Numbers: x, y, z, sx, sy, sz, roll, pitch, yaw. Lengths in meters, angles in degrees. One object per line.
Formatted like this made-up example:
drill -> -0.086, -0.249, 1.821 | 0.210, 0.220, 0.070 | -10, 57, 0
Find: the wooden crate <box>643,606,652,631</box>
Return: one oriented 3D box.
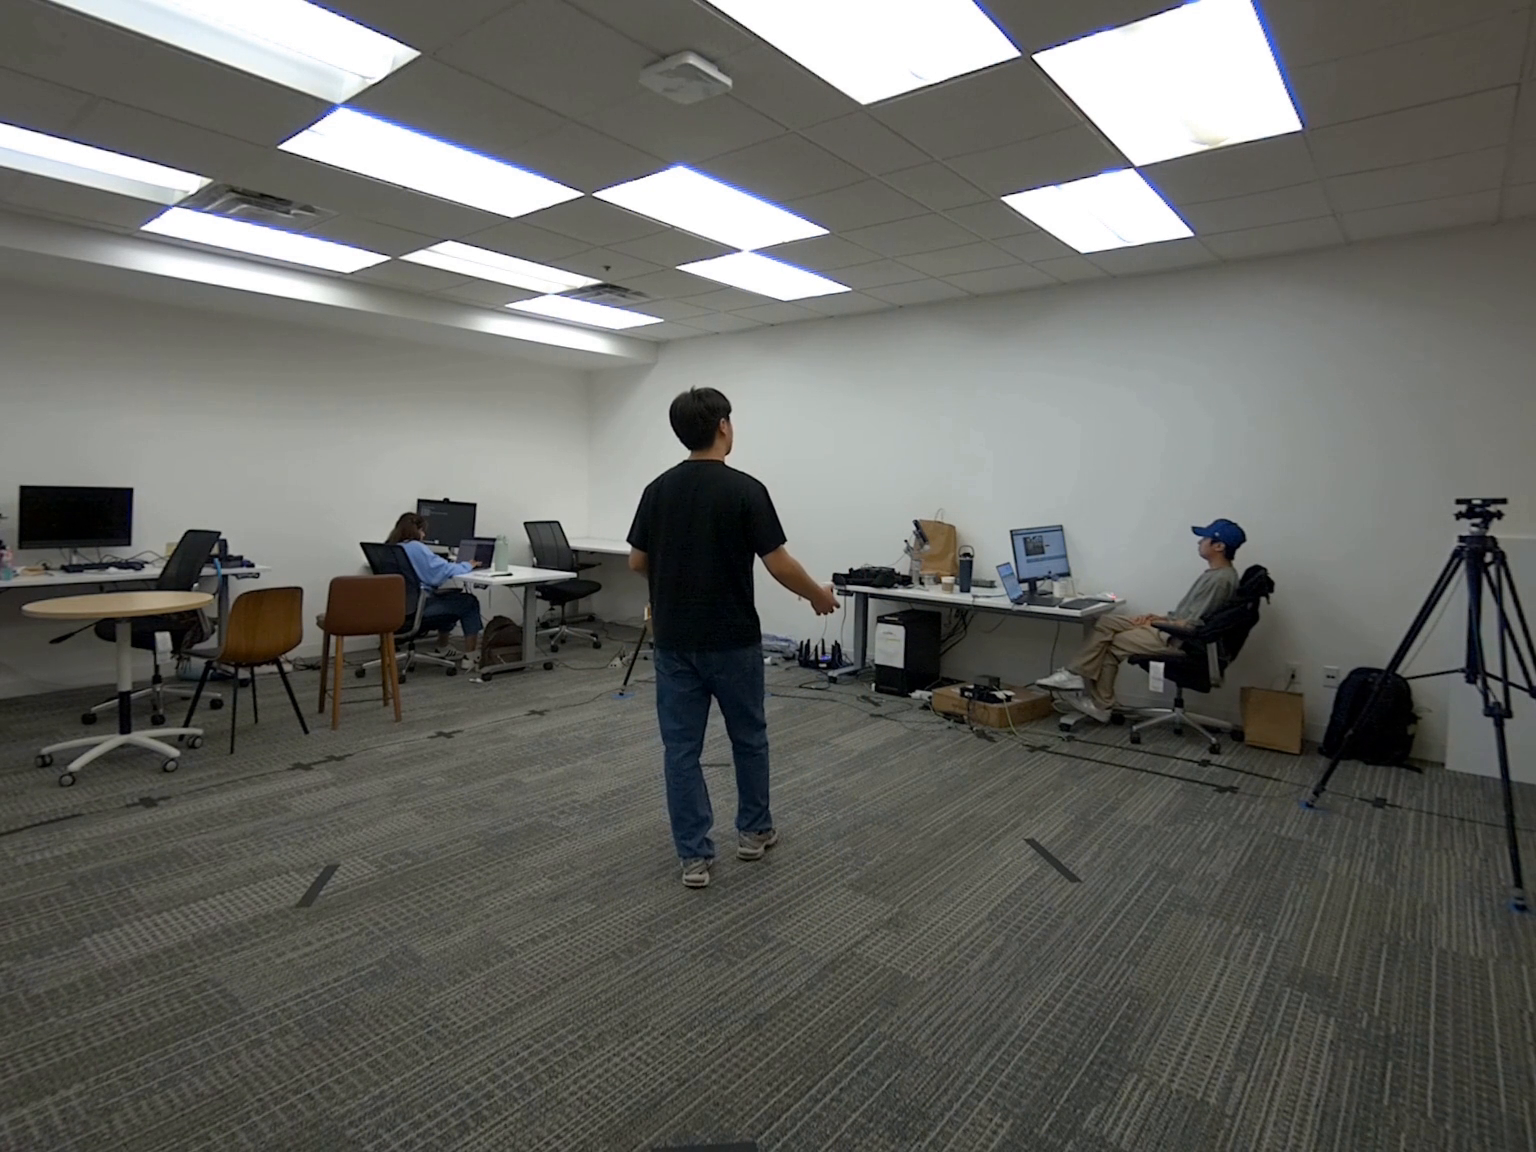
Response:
wooden crate -> -0.348, 0.087, 3.463 | 0.300, 0.272, 0.328 | 10, 5, -6
